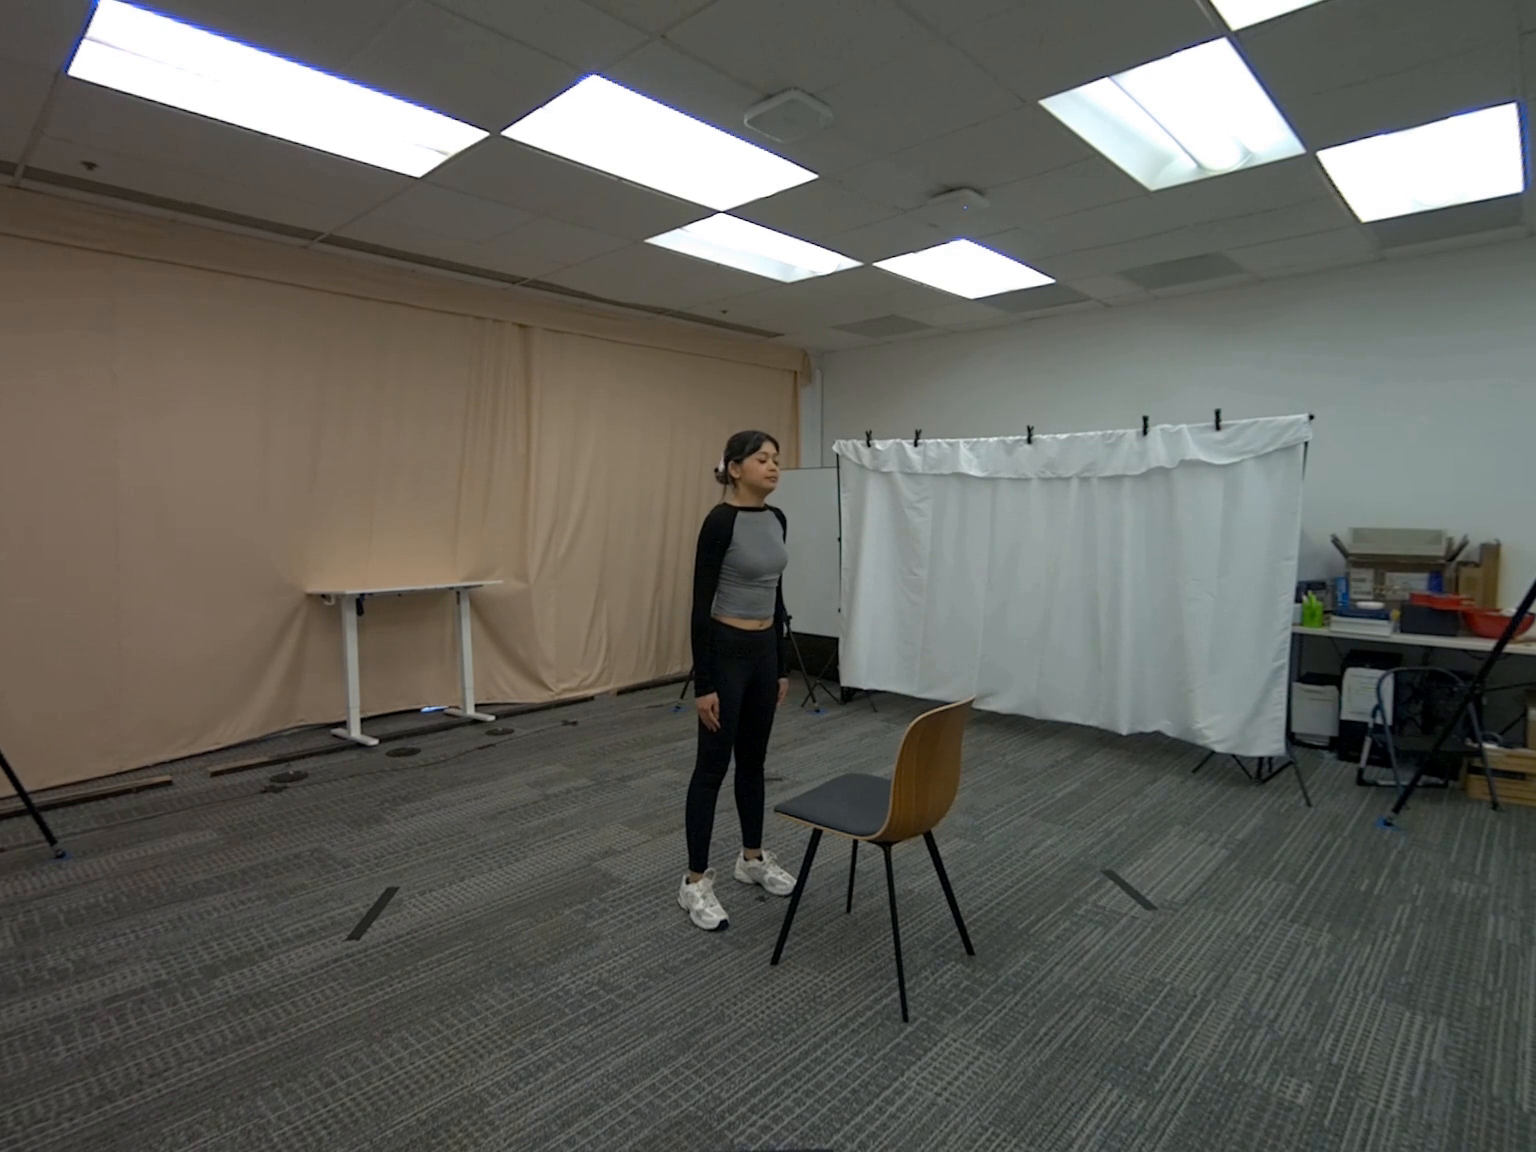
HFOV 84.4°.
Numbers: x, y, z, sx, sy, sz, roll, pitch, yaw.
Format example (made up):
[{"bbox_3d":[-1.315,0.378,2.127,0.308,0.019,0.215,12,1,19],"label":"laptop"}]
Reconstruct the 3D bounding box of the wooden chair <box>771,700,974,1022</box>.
[{"bbox_3d":[0.321,0.750,2.556,0.541,0.874,0.464,8,8,38],"label":"wooden chair"}]
